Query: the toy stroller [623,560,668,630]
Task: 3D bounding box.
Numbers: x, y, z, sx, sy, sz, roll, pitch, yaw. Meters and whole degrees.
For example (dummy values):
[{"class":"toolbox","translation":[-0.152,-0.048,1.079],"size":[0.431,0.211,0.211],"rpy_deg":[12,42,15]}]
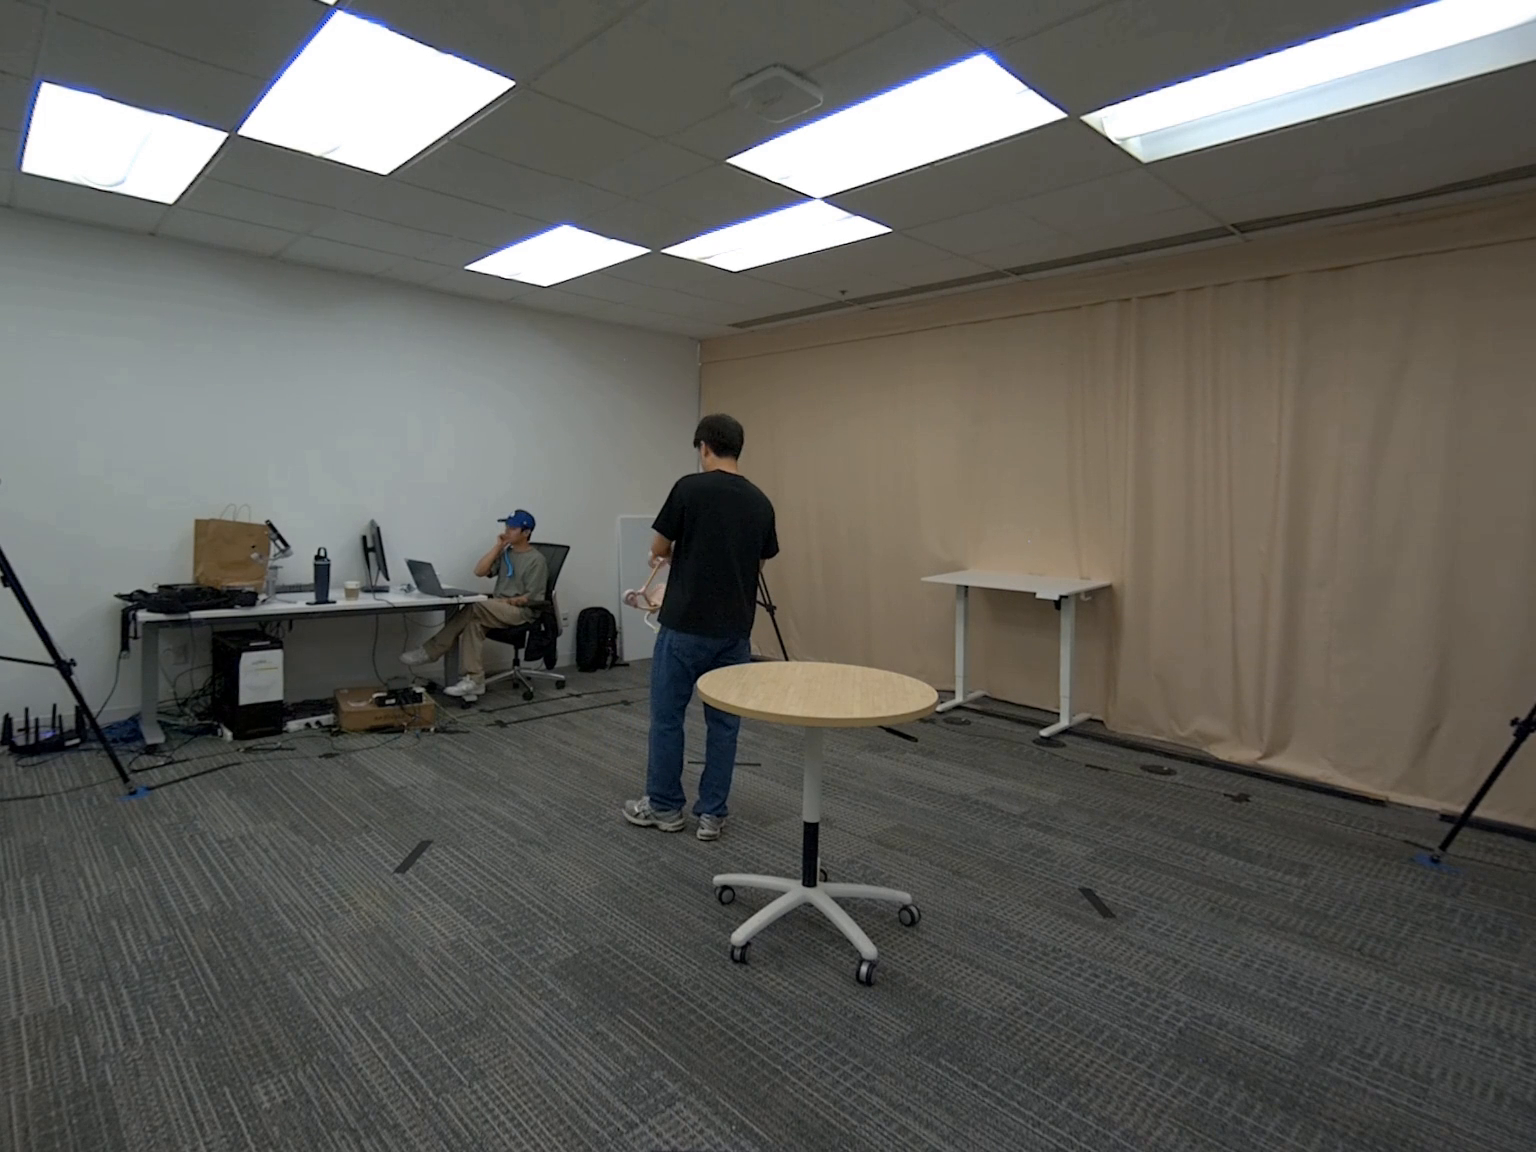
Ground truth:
[{"class":"toy stroller","translation":[-0.431,0.130,3.833],"size":[0.290,0.342,0.518],"rpy_deg":[21,-24,43]}]
